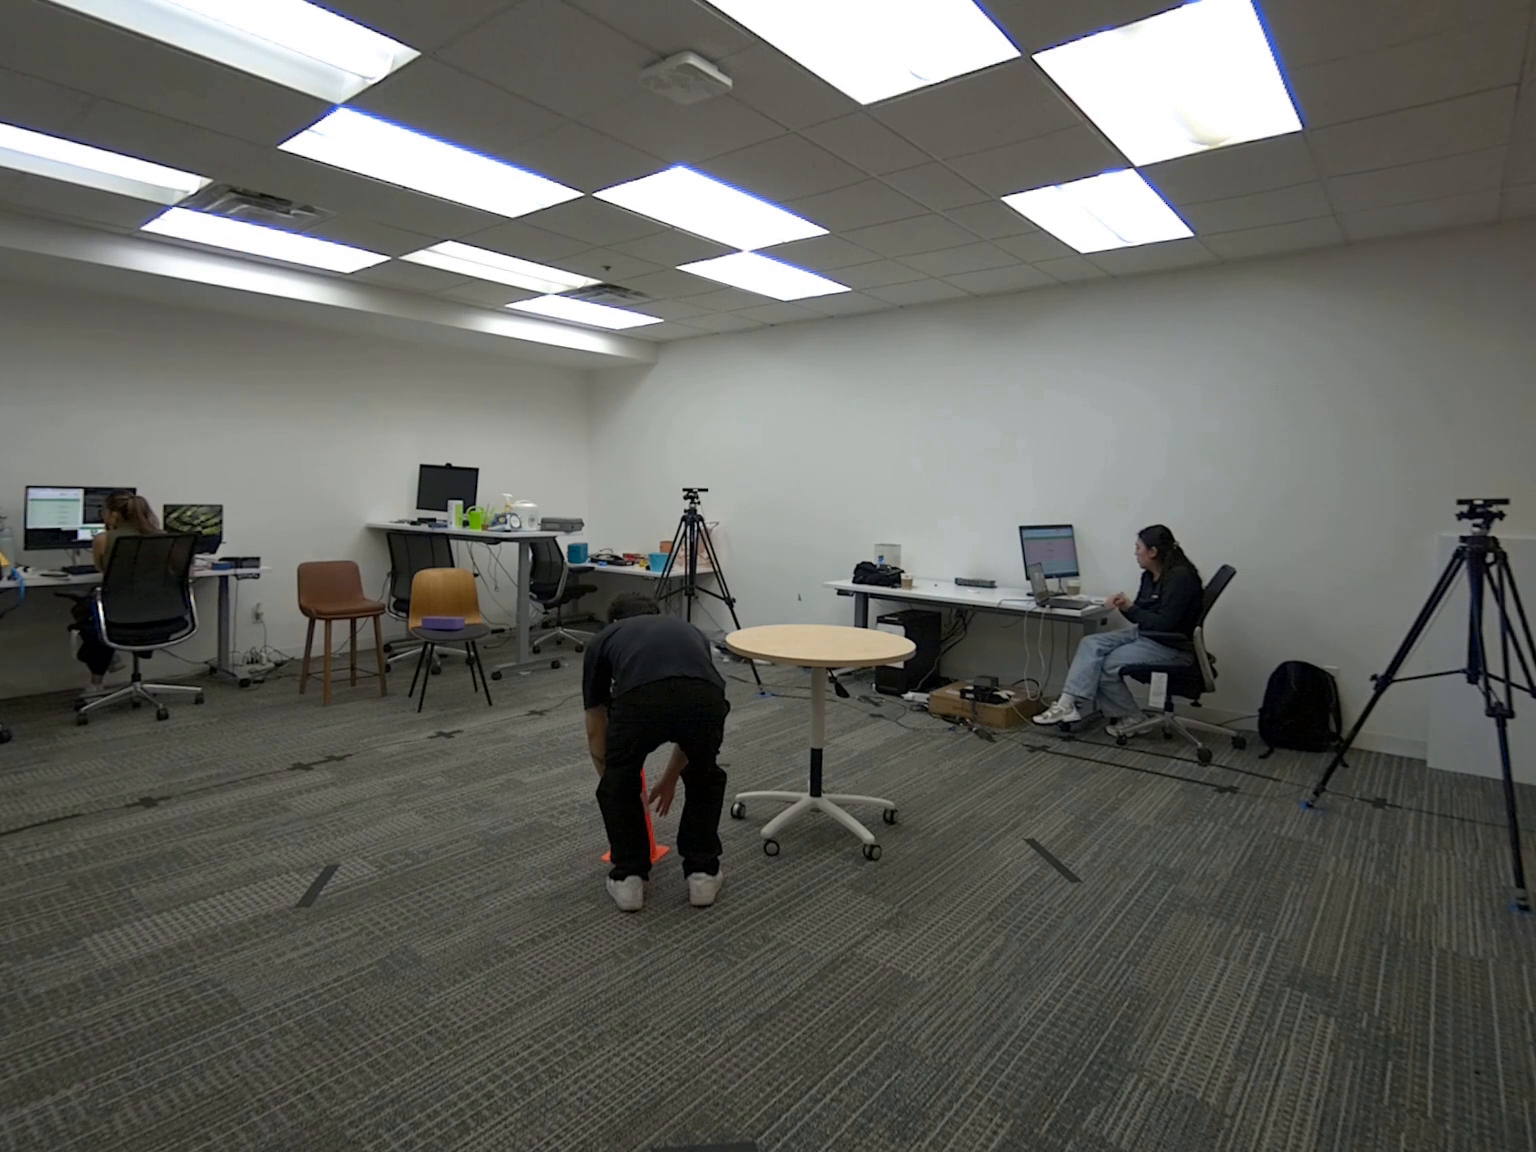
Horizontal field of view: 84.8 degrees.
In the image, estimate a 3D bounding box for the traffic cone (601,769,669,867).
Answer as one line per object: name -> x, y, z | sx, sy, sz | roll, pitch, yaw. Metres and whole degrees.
traffic cone -> -0.502, 0.866, 3.226 | 0.208, 0.383, 0.200 | 2, 3, 23
